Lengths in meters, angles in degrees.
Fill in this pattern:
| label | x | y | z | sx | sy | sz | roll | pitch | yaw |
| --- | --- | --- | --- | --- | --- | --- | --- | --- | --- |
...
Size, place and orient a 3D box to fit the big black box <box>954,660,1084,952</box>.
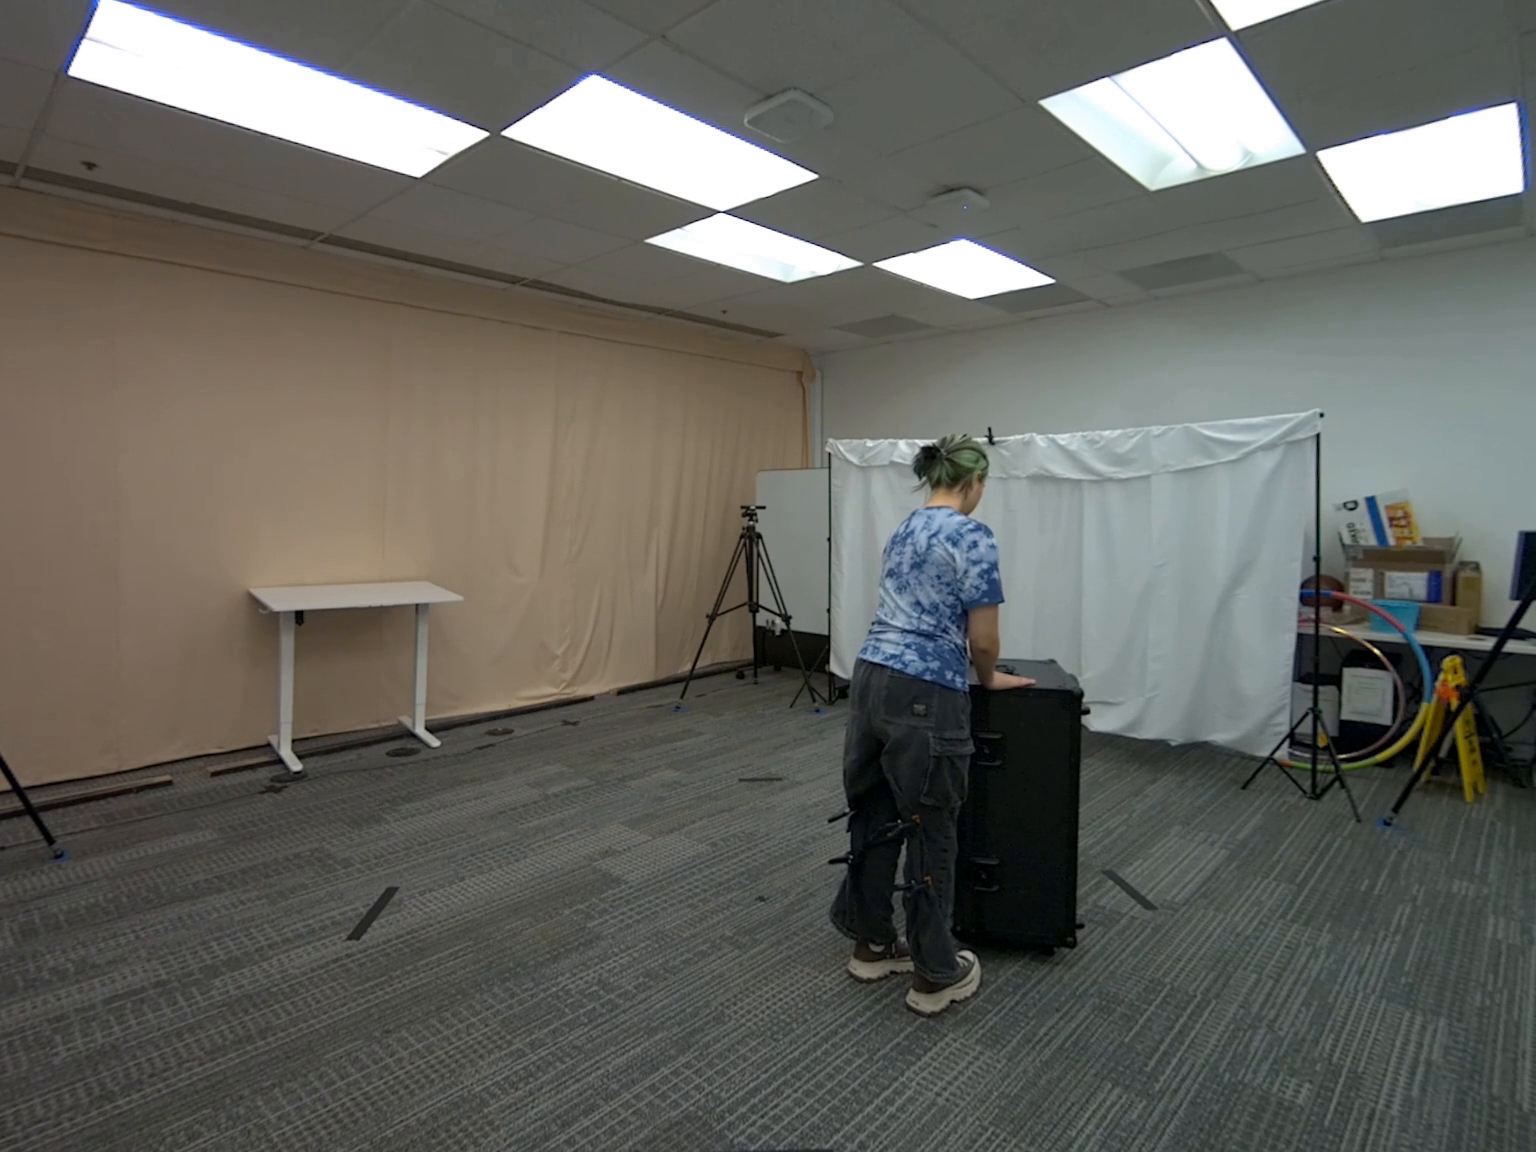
| label | x | y | z | sx | sy | sz | roll | pitch | yaw |
| --- | --- | --- | --- | --- | --- | --- | --- | --- | --- |
| big black box | 0.806 | 0.734 | 2.762 | 0.402 | 0.860 | 0.515 | 2 | 4 | 11 |
